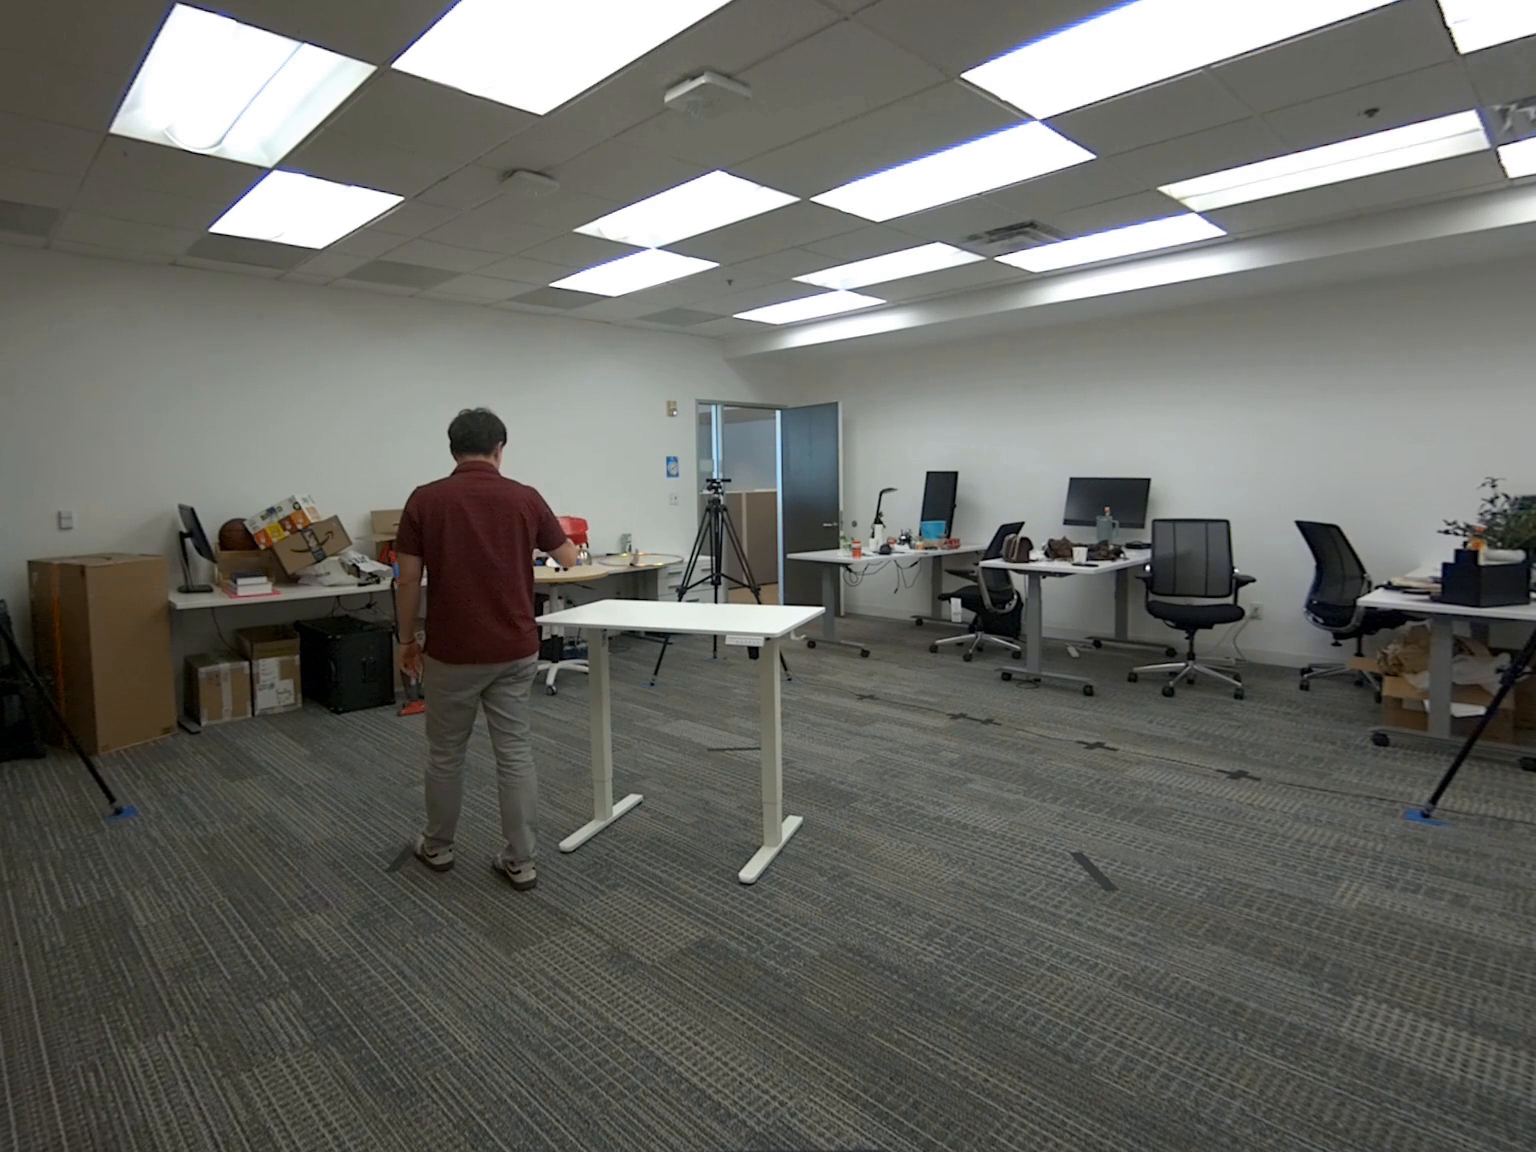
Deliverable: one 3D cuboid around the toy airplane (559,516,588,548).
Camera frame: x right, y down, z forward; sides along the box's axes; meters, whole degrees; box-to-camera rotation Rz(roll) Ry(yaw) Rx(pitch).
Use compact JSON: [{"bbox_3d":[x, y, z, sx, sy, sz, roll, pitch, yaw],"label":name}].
[{"bbox_3d":[-0.867,-0.143,3.582,0.248,0.153,0.269,-26,49,-36],"label":"toy airplane"}]
